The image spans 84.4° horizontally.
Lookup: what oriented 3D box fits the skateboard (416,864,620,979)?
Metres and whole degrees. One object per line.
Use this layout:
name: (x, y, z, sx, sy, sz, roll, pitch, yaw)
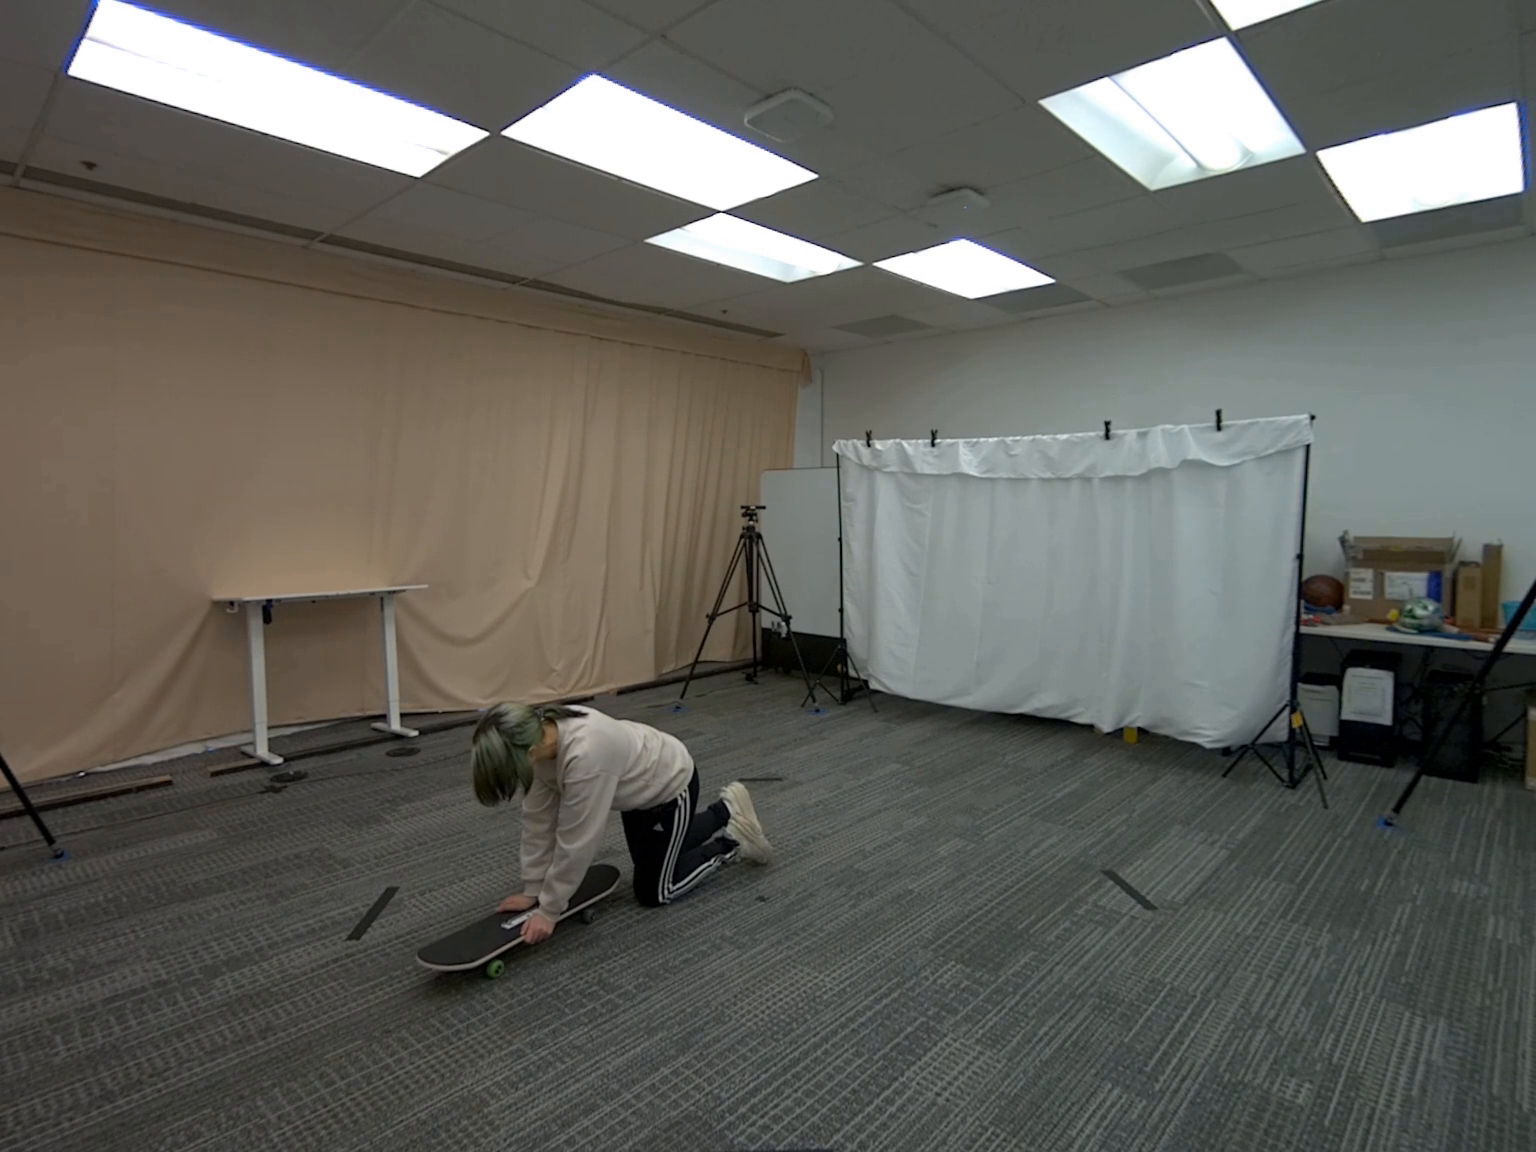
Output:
skateboard: (-0.768, 1.122, 2.706, 0.199, 0.110, 0.763, 2, 5, 33)
